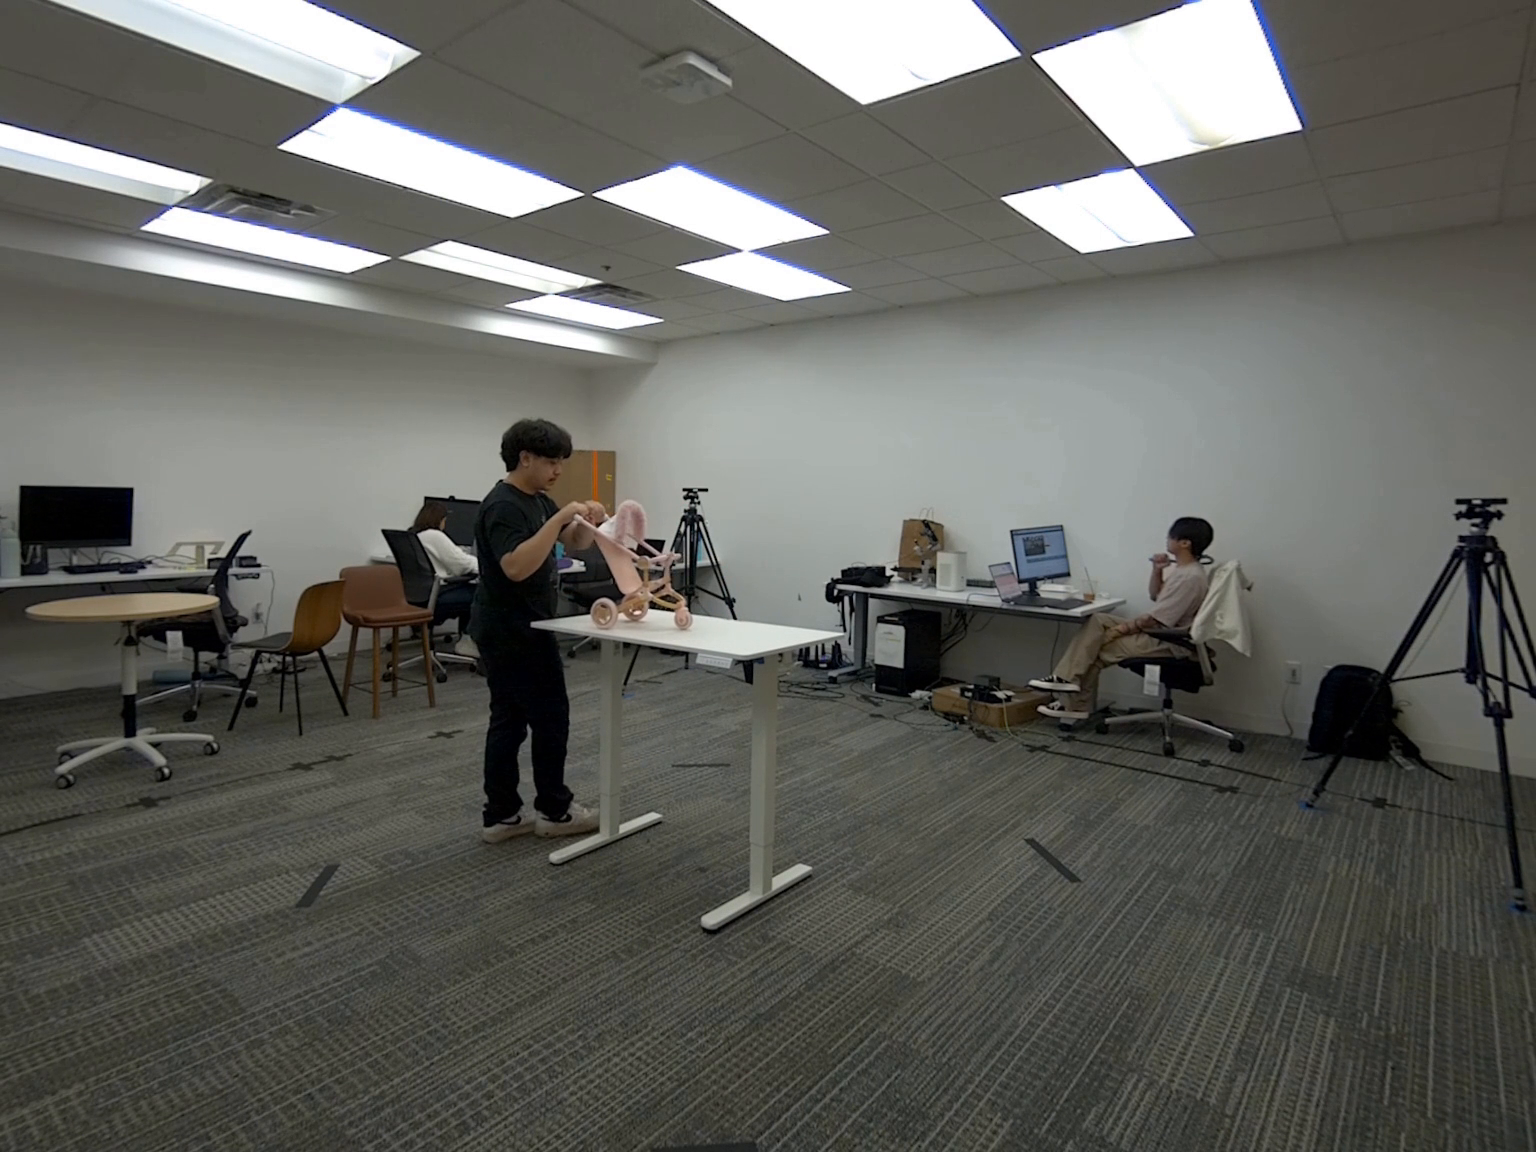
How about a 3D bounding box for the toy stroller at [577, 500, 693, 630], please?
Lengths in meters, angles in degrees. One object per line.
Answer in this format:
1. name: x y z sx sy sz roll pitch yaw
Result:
1. toy stroller: -0.498 -0.040 3.114 0.347 0.537 0.275 -15 -4 24
